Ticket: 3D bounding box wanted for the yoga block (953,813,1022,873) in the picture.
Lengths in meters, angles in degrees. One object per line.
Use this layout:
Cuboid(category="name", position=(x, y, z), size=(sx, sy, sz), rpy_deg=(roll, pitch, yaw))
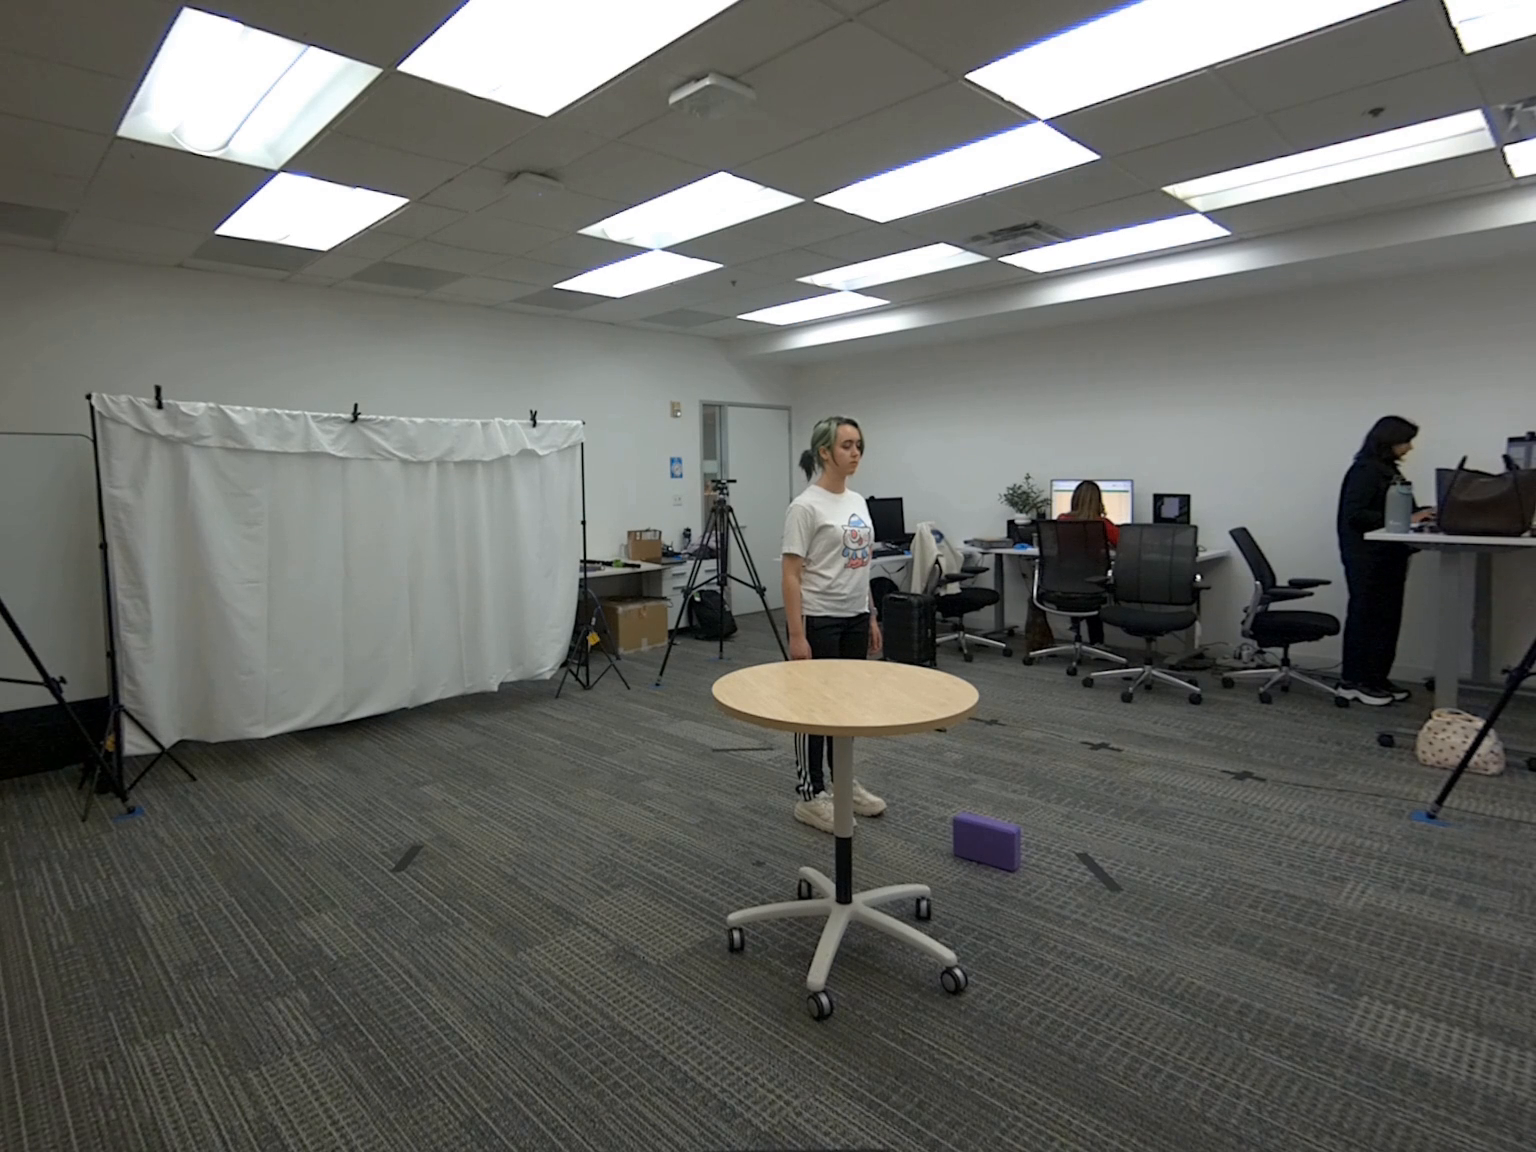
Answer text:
Cuboid(category="yoga block", position=(0.797, 0.959, 3.090), size=(0.236, 0.148, 0.074), rpy_deg=(5, 7, 39))
